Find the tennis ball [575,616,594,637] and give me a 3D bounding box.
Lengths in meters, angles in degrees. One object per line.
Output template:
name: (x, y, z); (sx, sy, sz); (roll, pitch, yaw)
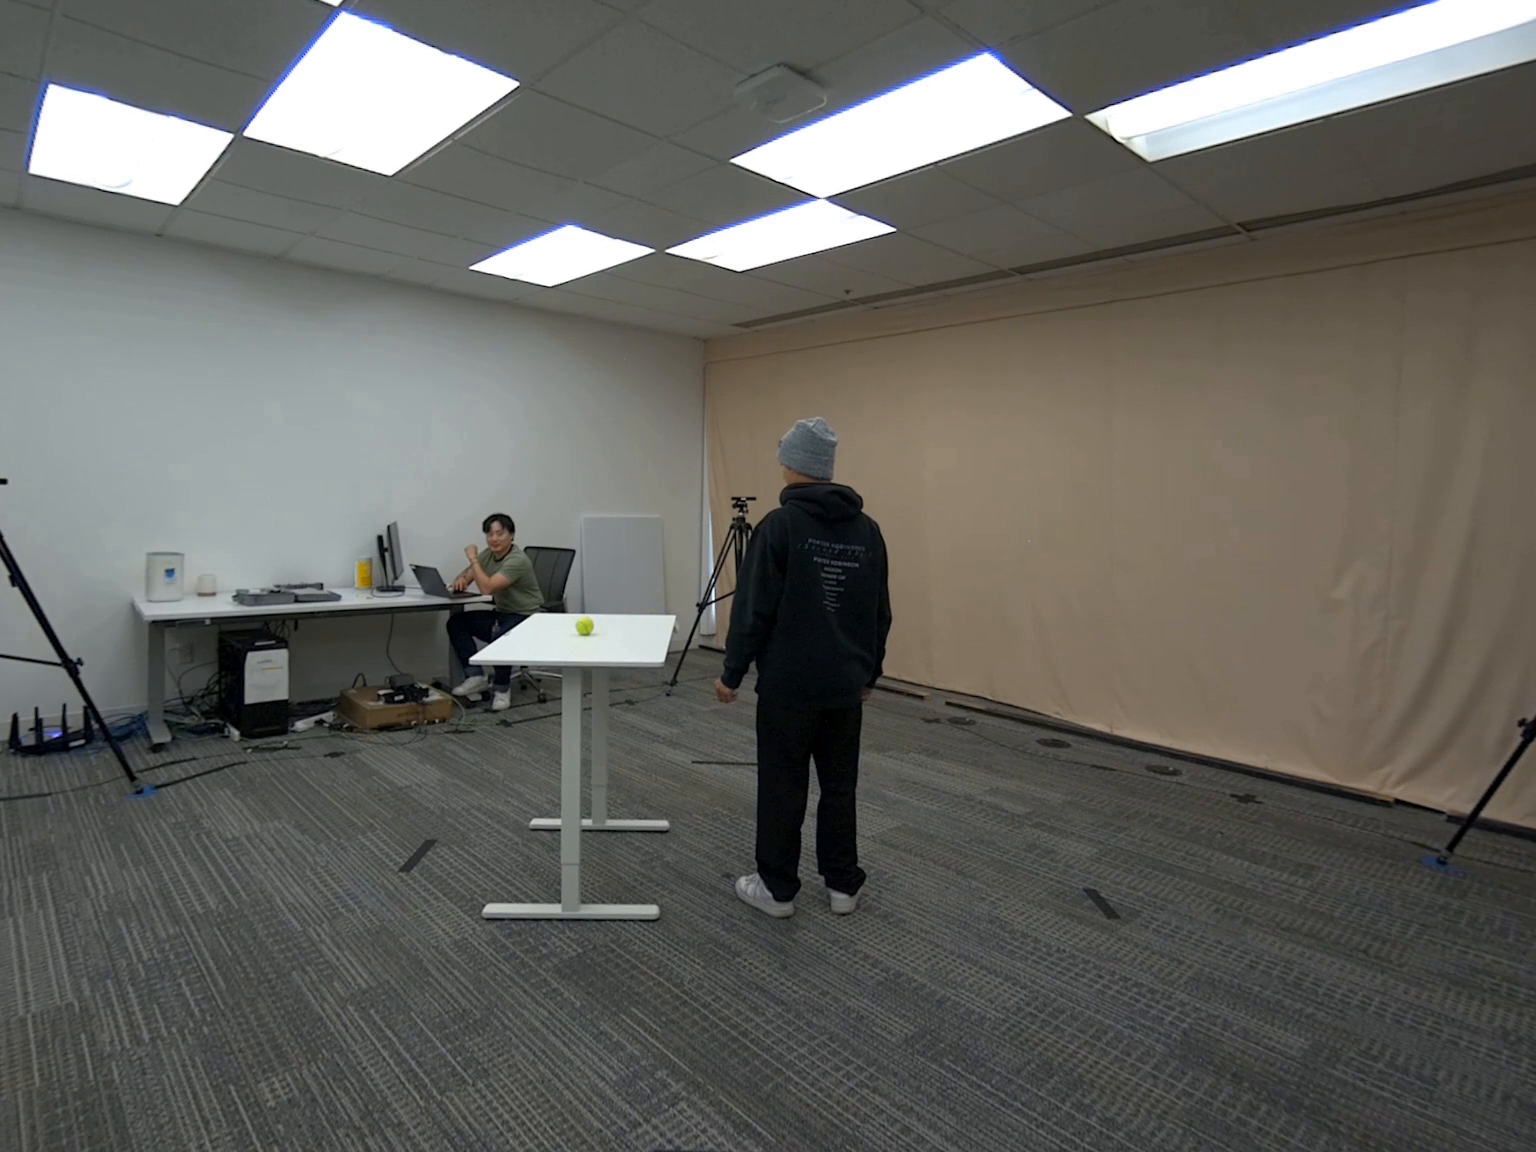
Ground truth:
tennis ball: (-0.664, 0.186, 3.069); (0.066, 0.066, 0.067); (1, 4, -1)
